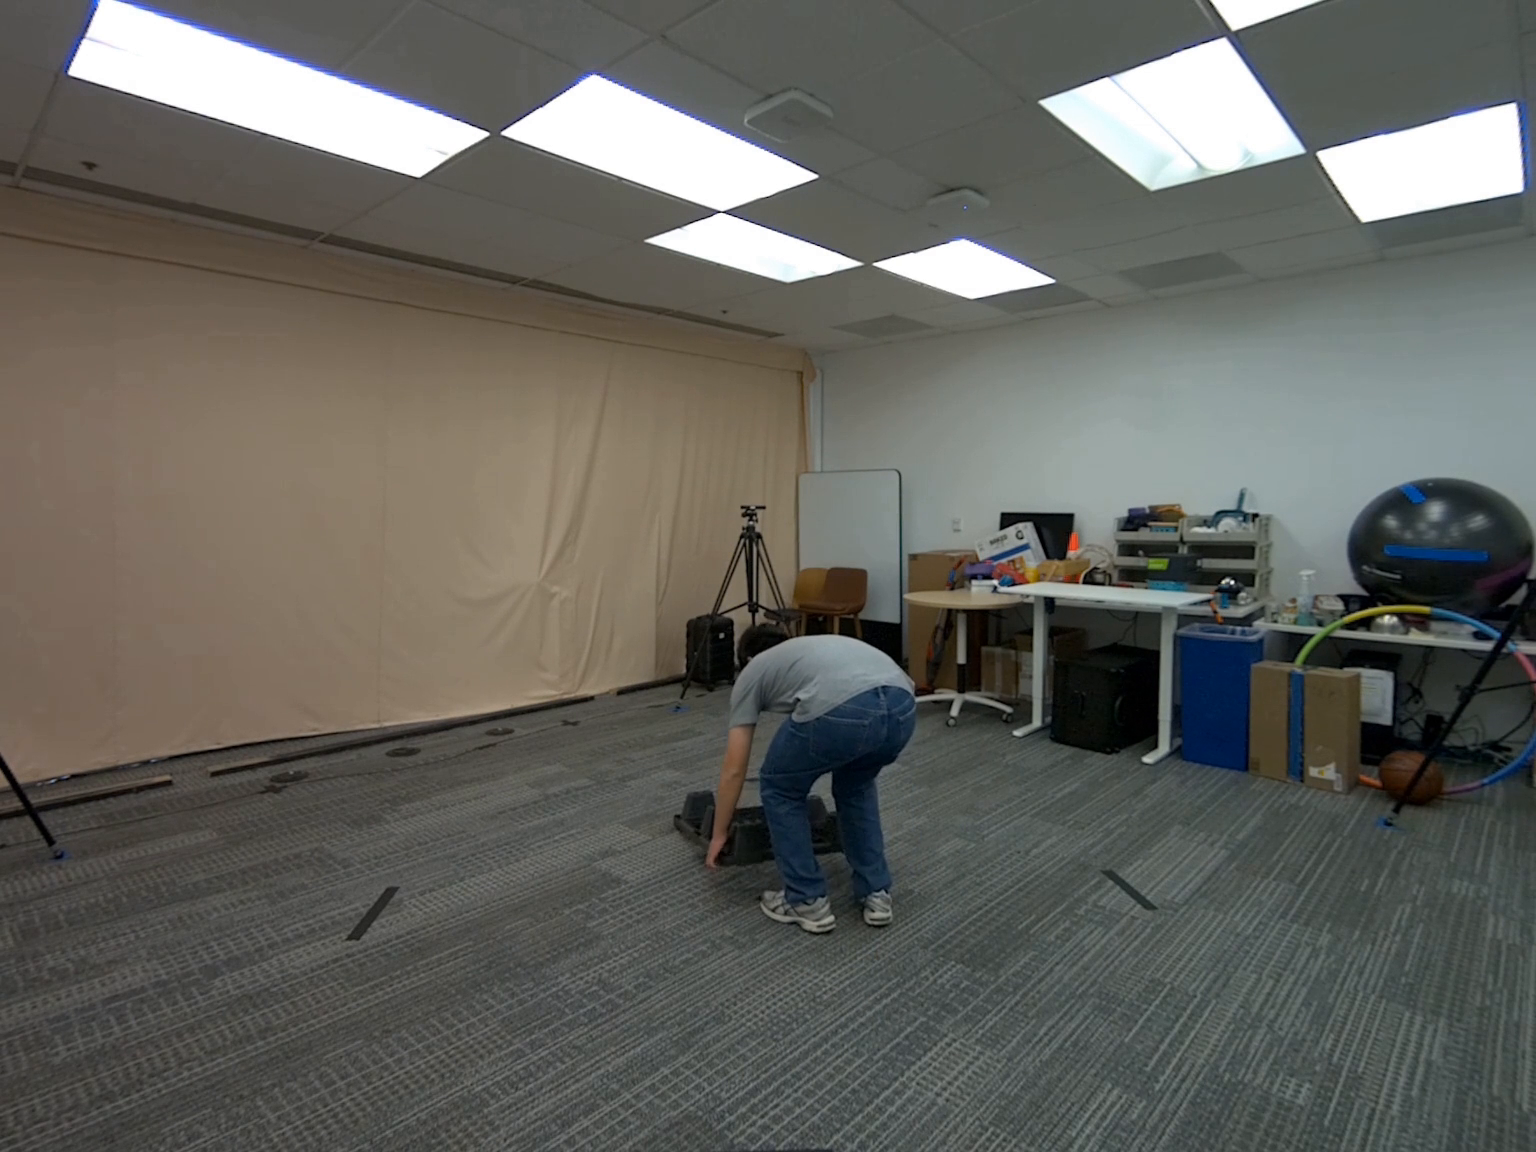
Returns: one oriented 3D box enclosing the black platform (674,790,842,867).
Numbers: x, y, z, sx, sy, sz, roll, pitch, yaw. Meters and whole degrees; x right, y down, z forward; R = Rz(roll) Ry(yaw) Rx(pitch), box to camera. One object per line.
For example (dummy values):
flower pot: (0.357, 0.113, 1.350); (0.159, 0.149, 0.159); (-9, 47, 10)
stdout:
black platform: (-0.014, 0.975, 3.412); (0.594, 0.144, 0.817); (-2, -4, -18)
